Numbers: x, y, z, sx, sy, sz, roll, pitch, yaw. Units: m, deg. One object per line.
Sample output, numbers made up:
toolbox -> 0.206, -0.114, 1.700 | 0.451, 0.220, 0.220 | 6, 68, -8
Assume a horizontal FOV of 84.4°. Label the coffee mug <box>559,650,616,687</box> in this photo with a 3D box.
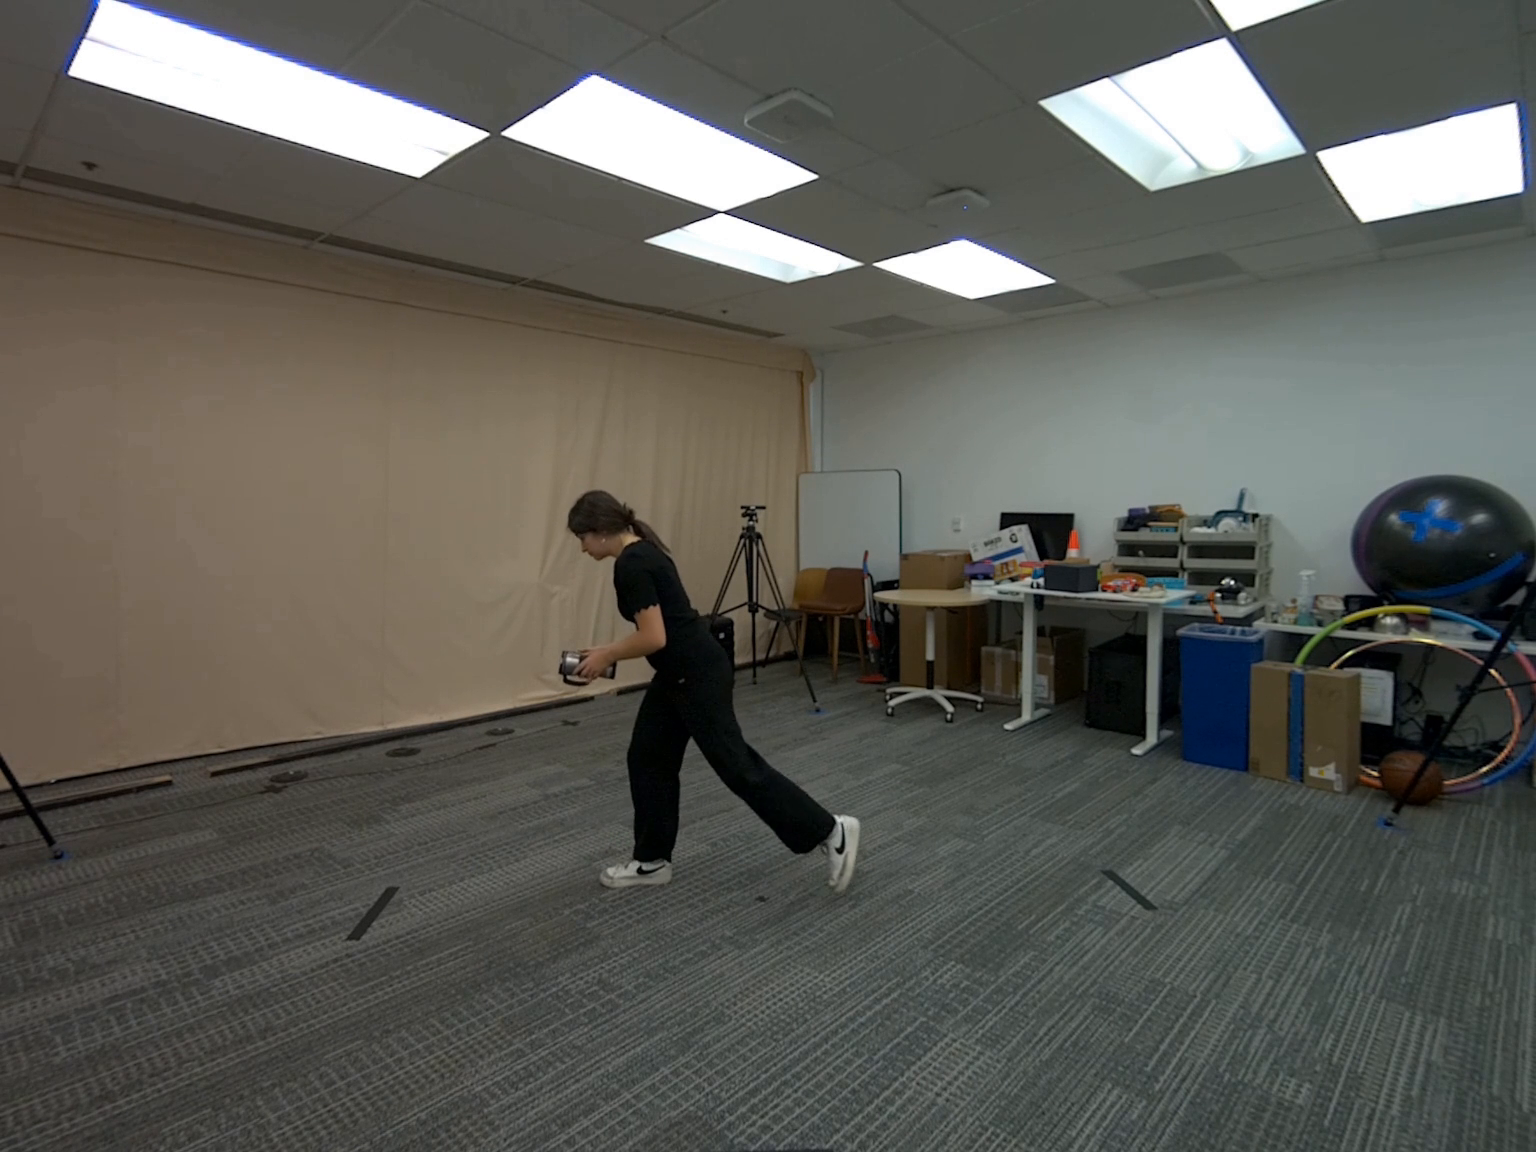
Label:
coffee mug -> -0.648, 0.344, 3.063 | 0.201, 0.122, 0.089 | 11, 1, -10
